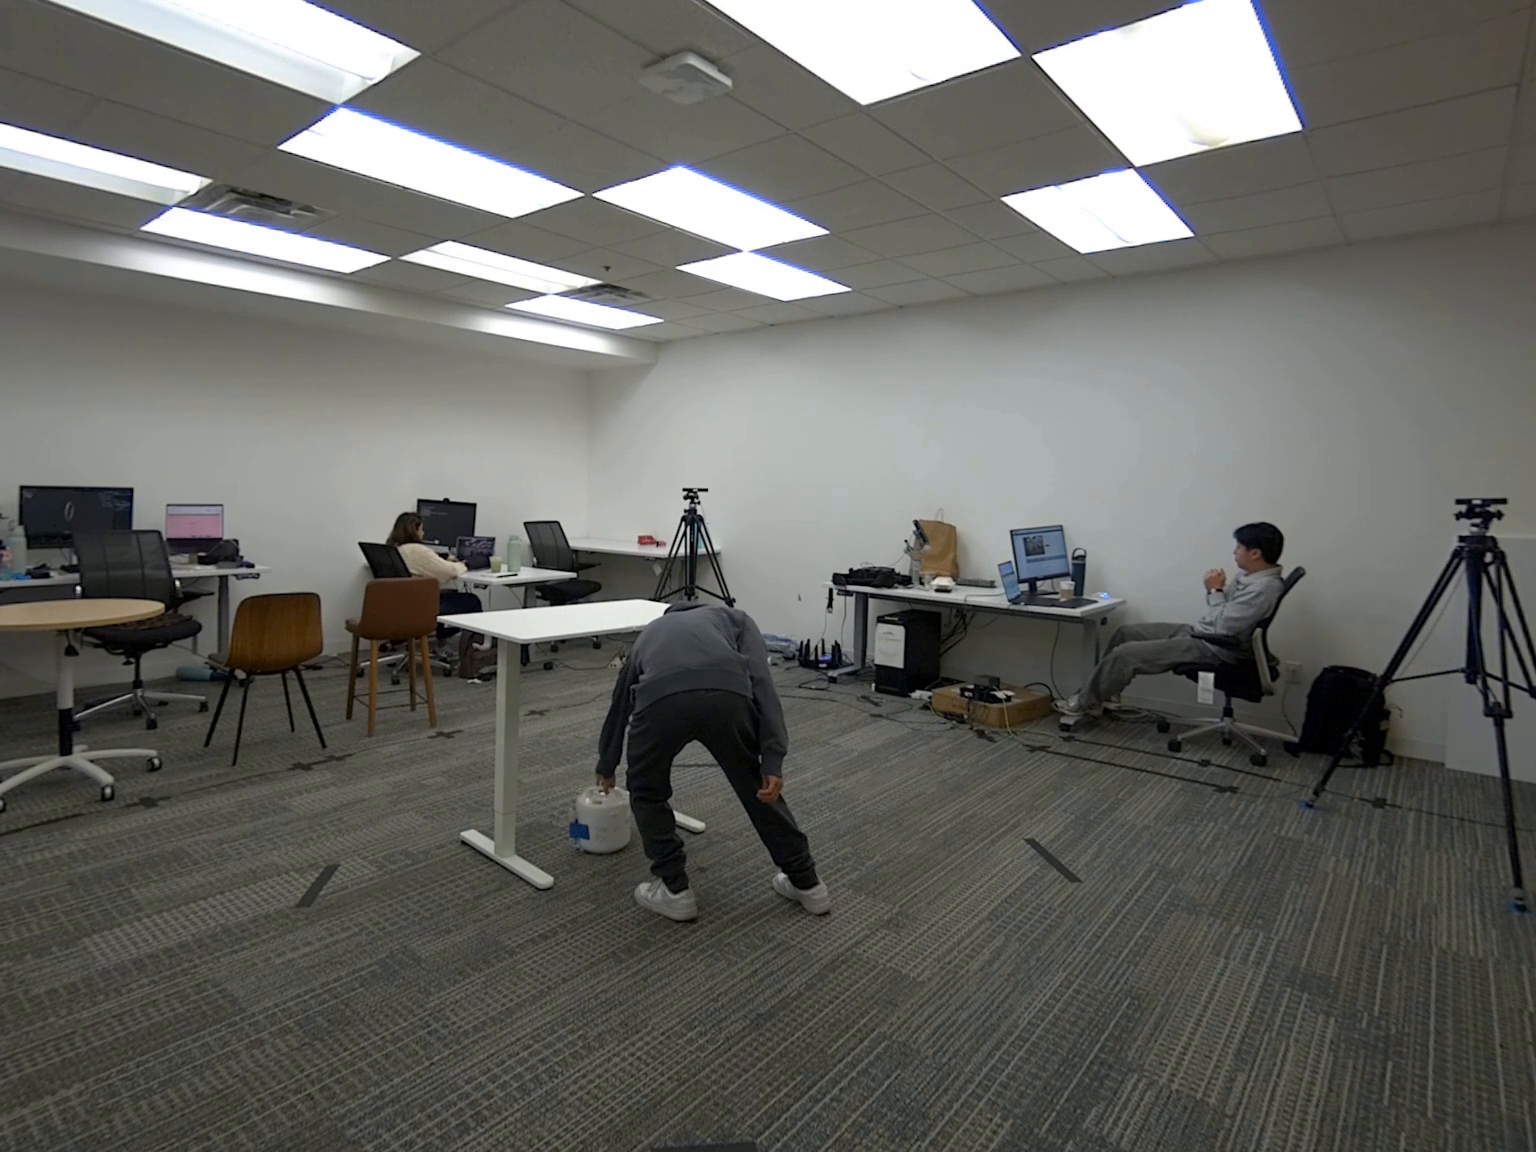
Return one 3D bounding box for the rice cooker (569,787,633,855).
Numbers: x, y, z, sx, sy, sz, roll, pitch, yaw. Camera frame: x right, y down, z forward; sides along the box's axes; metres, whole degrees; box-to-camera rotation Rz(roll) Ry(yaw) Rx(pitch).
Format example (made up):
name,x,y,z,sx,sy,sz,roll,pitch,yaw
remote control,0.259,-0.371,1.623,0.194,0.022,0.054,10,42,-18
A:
name,x,y,z,sx,sy,sz,roll,pitch,yaw
rice cooker,-0.646,0.924,3.297,0.226,0.232,0.213,3,6,21
